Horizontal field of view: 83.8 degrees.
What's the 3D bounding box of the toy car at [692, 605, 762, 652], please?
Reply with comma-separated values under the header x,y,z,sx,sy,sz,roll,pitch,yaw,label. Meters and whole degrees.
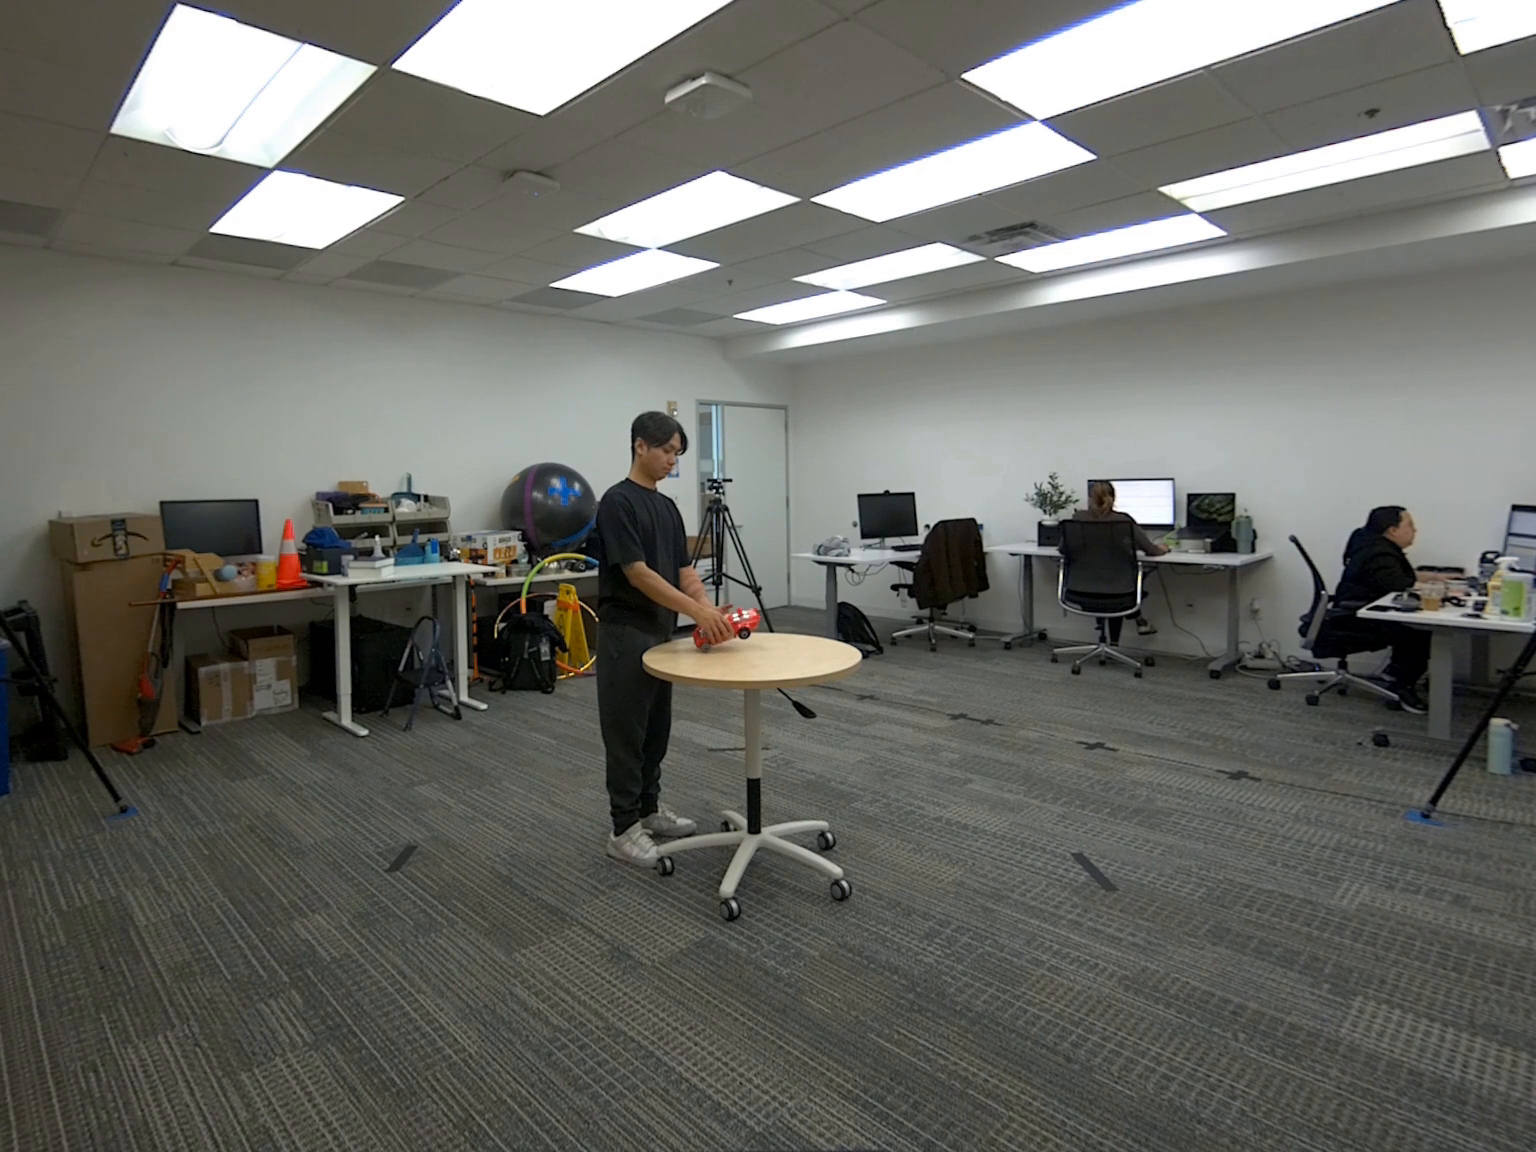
x,y,z,sx,sy,sz,roll,pitch,yaw,label
-0.148,0.193,3.065,0.255,0.080,0.134,-28,29,2,toy car
